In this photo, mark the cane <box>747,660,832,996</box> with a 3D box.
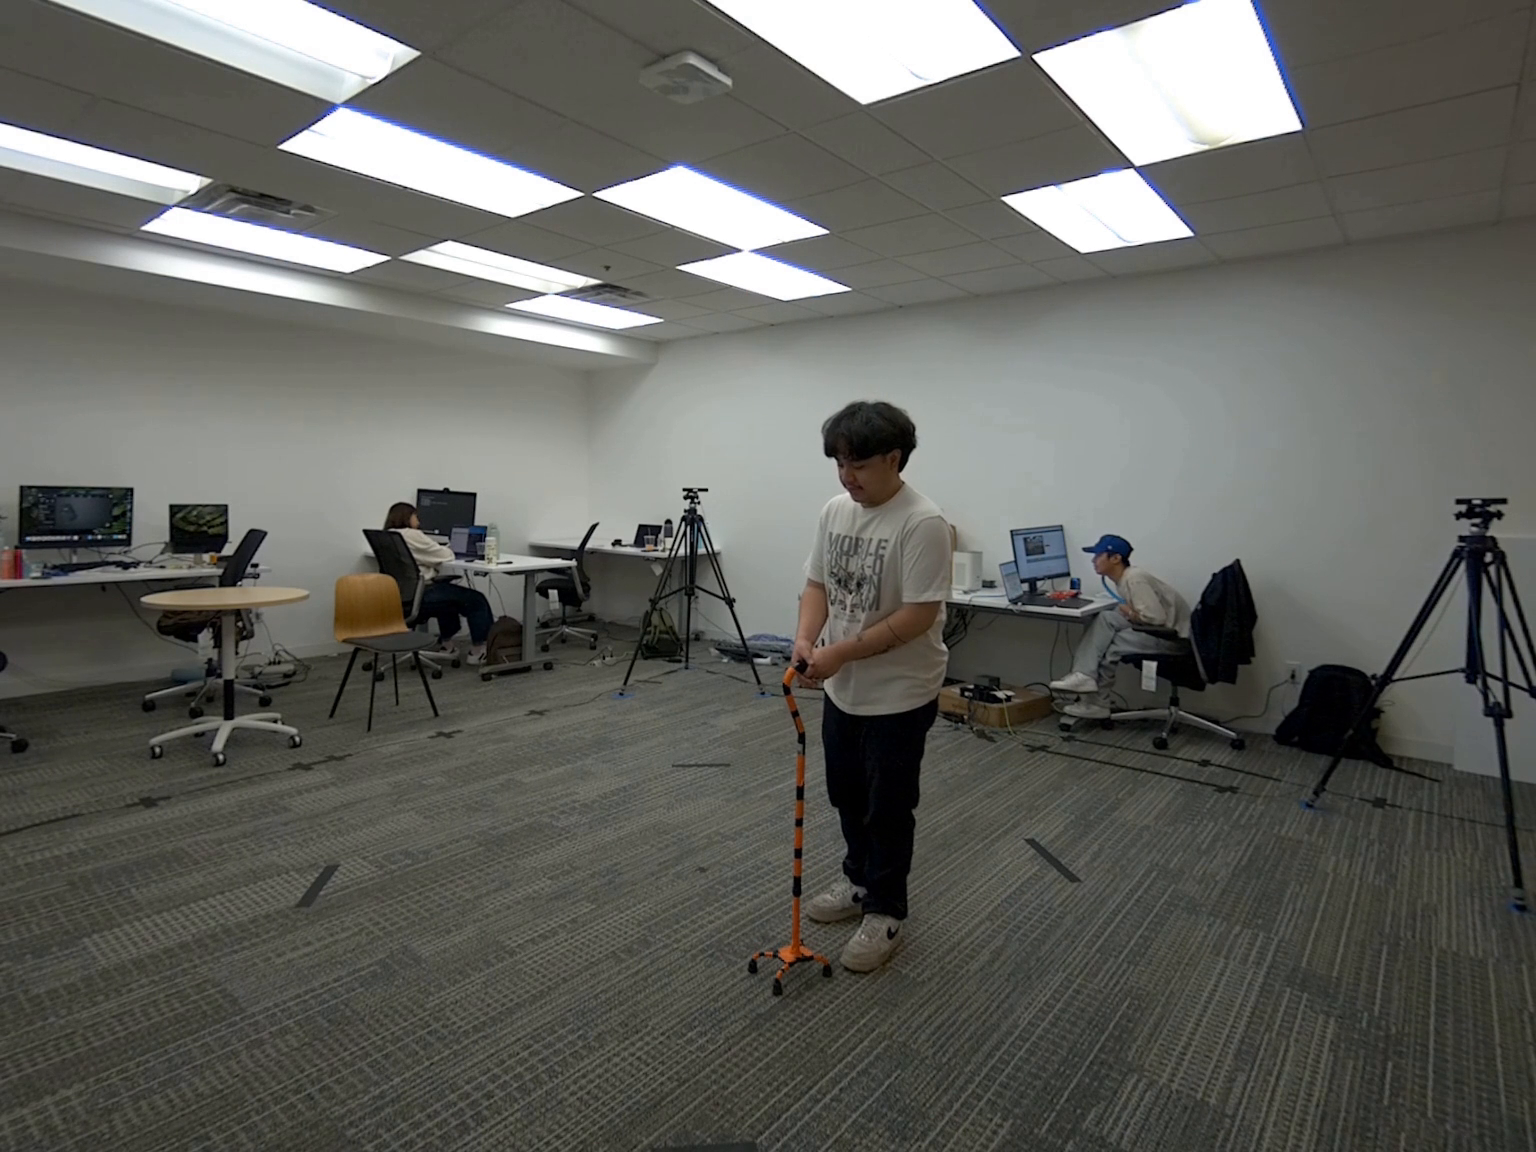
[{"bbox_3d":[0.065,0.690,2.424,0.201,0.904,0.156,-2,5,-33],"label":"cane"}]
